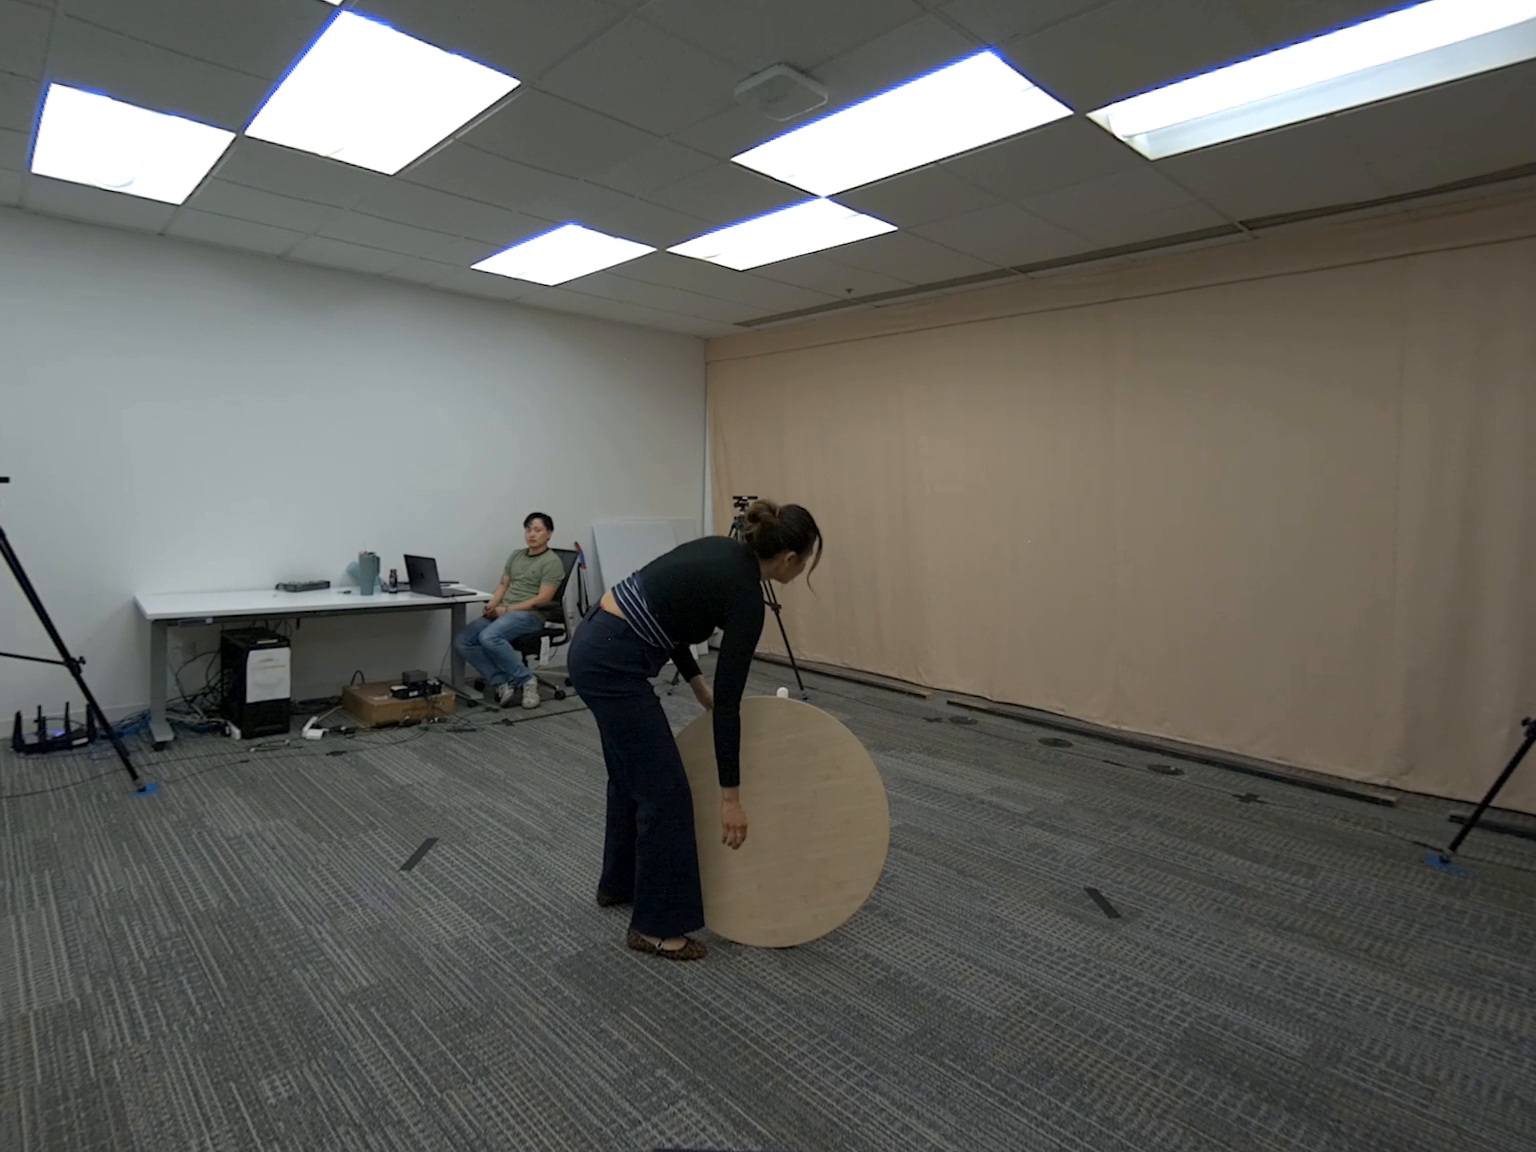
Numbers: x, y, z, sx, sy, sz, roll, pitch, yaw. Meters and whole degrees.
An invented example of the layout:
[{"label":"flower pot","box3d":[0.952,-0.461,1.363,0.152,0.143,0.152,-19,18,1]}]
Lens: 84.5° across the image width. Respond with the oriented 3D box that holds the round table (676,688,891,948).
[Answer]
[{"label":"round table","box3d":[0.017,0.785,3.024,0.768,0.766,0.788,2,-3,5]}]
